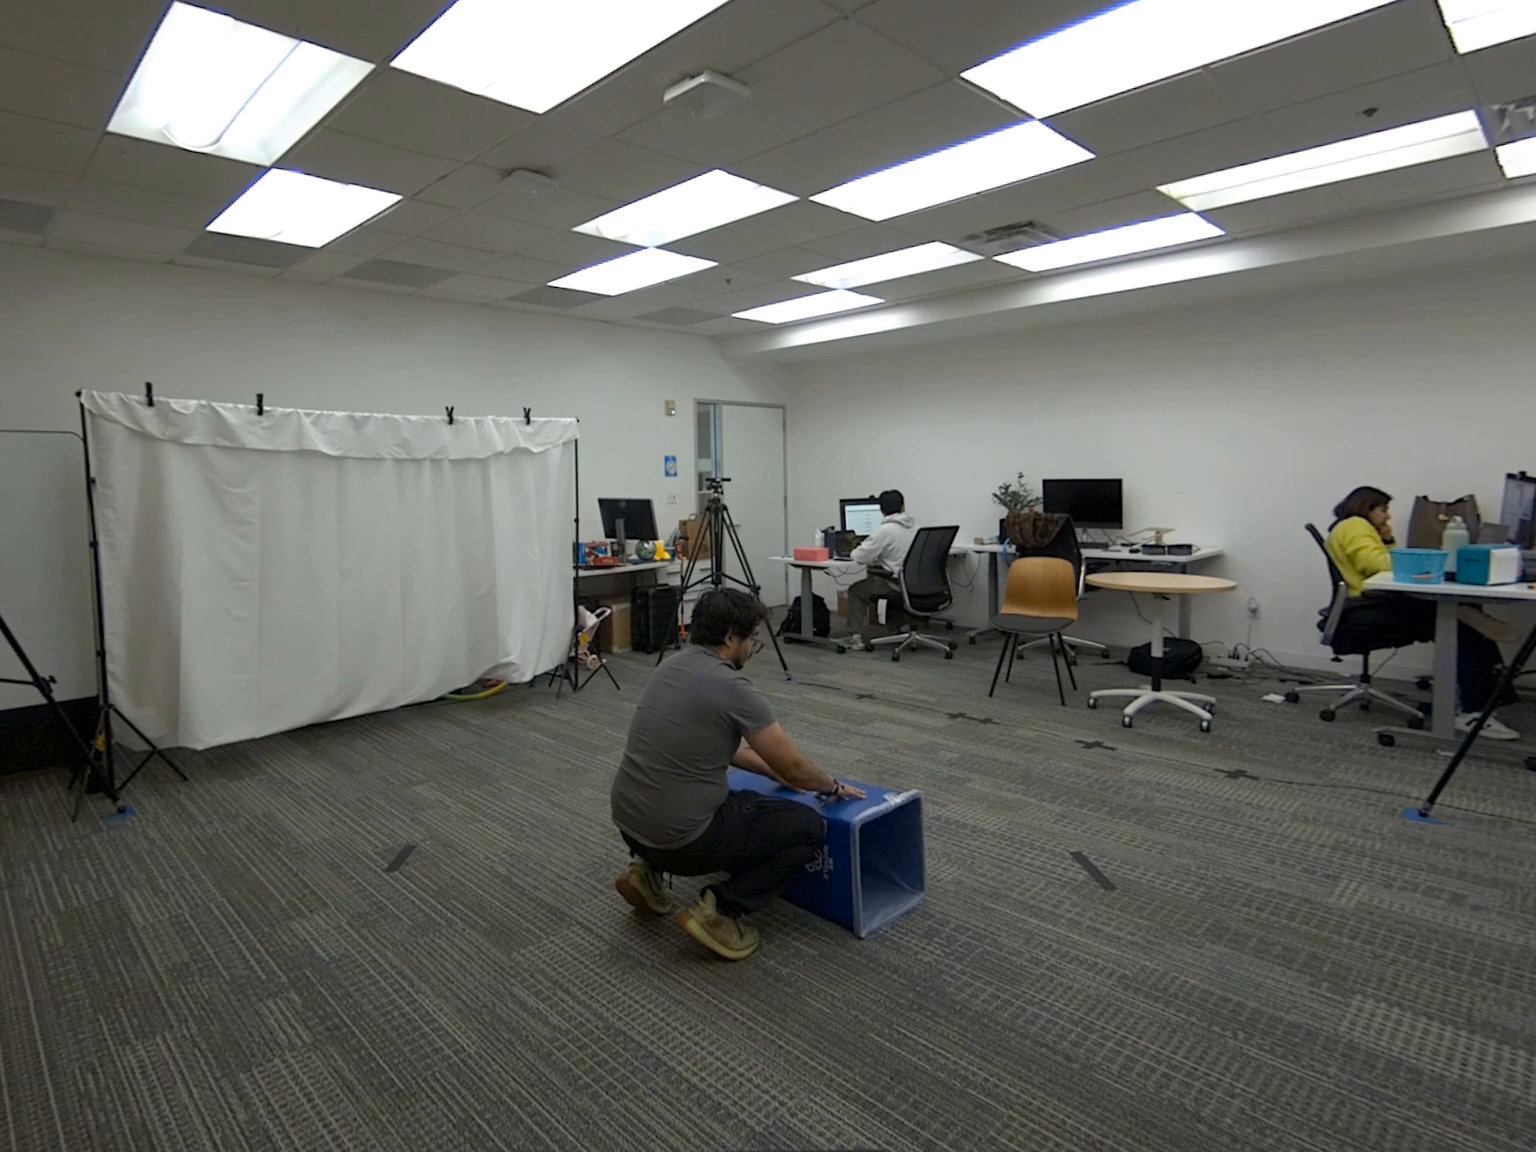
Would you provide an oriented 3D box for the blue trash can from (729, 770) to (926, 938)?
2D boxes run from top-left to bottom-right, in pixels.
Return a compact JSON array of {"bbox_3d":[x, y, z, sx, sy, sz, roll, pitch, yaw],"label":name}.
[{"bbox_3d":[0.141,0.886,2.953,0.364,0.377,0.735,-6,6,-44],"label":"blue trash can"}]
